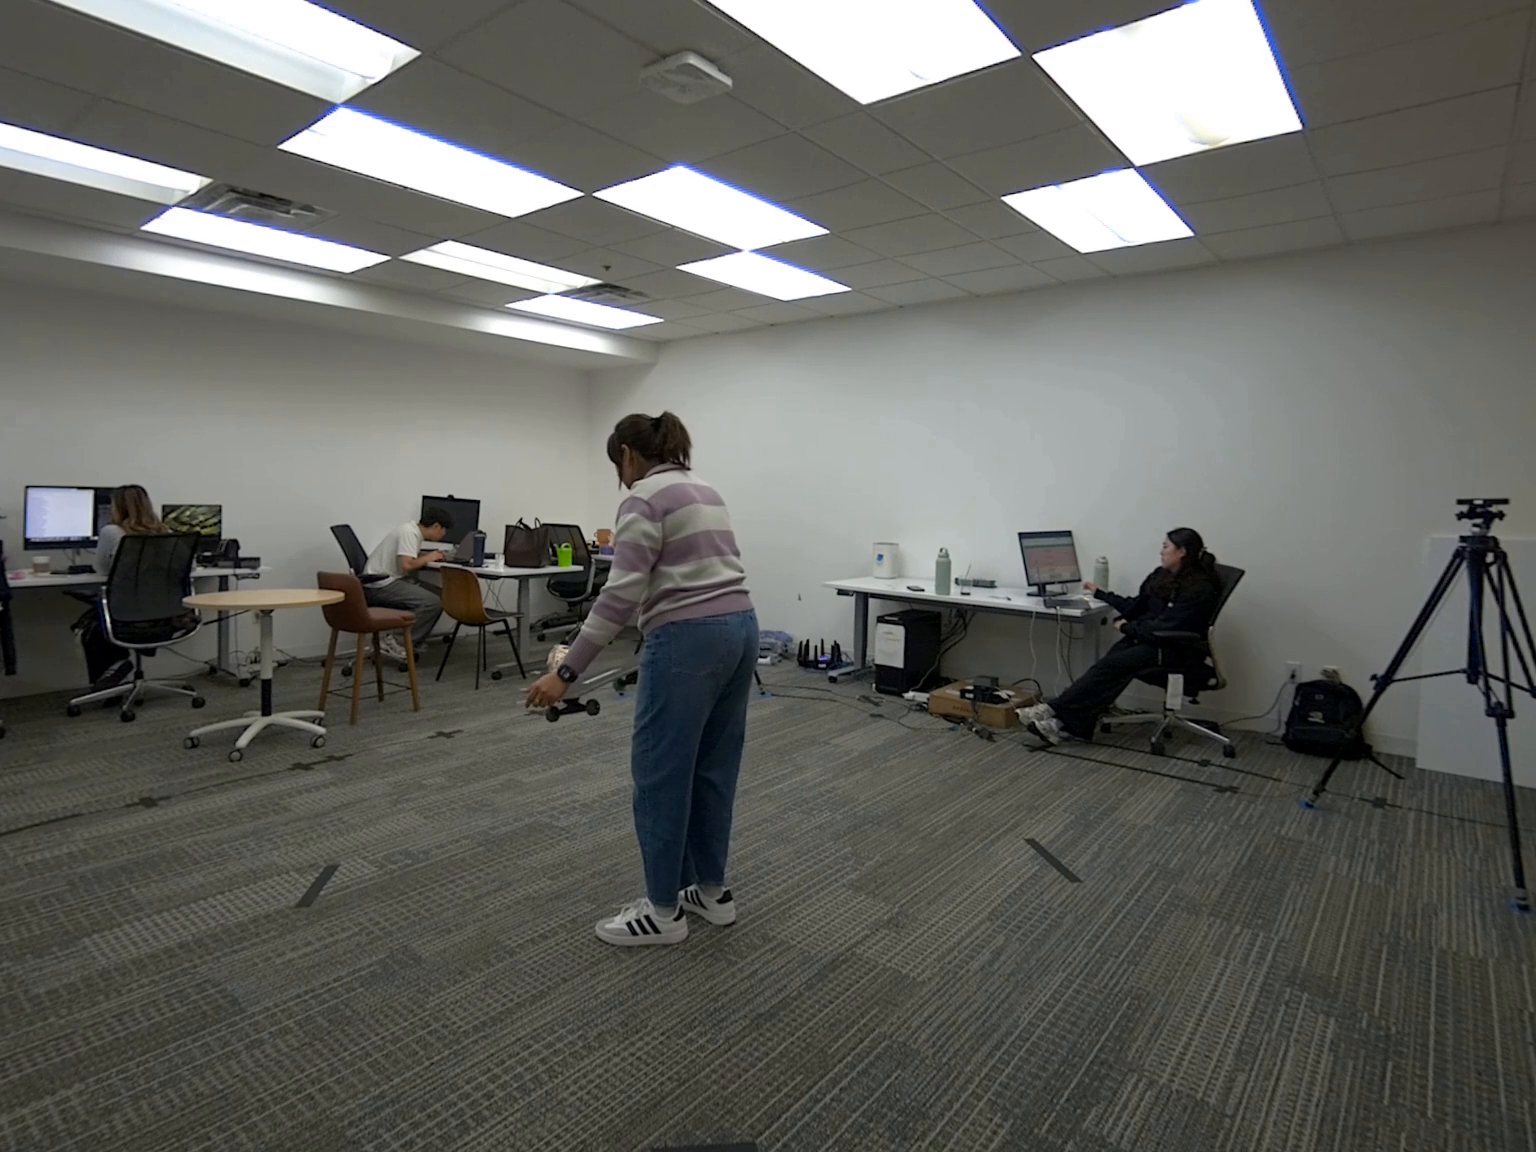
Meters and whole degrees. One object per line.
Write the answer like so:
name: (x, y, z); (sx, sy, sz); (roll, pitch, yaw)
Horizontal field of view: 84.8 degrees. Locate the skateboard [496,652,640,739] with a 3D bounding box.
skateboard: (-0.554, 0.365, 2.793); (0.197, 0.110, 0.770); (-13, 1, 24)
